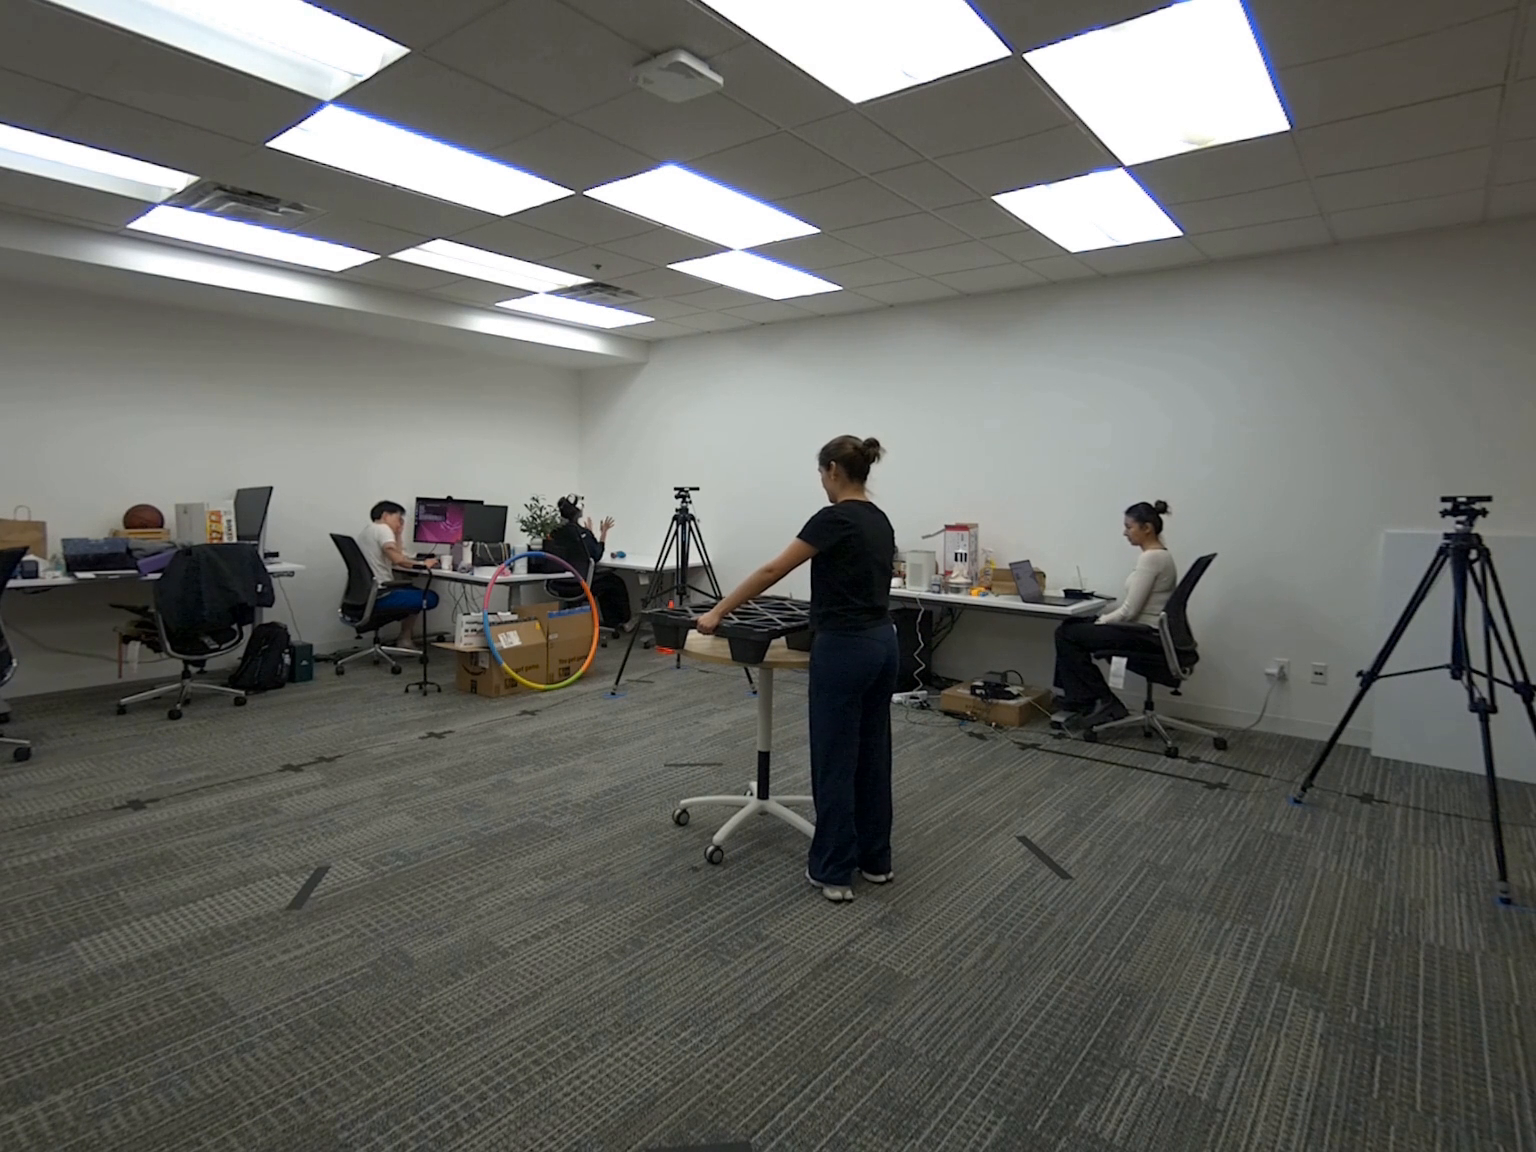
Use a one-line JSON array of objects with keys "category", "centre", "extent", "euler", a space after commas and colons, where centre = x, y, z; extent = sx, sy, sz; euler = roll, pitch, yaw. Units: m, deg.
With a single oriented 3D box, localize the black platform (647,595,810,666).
[{"category": "black platform", "centre": [0.003, 0.196, 3.388], "extent": [0.625, 0.143, 0.782], "euler": [6, 8, 38]}]
